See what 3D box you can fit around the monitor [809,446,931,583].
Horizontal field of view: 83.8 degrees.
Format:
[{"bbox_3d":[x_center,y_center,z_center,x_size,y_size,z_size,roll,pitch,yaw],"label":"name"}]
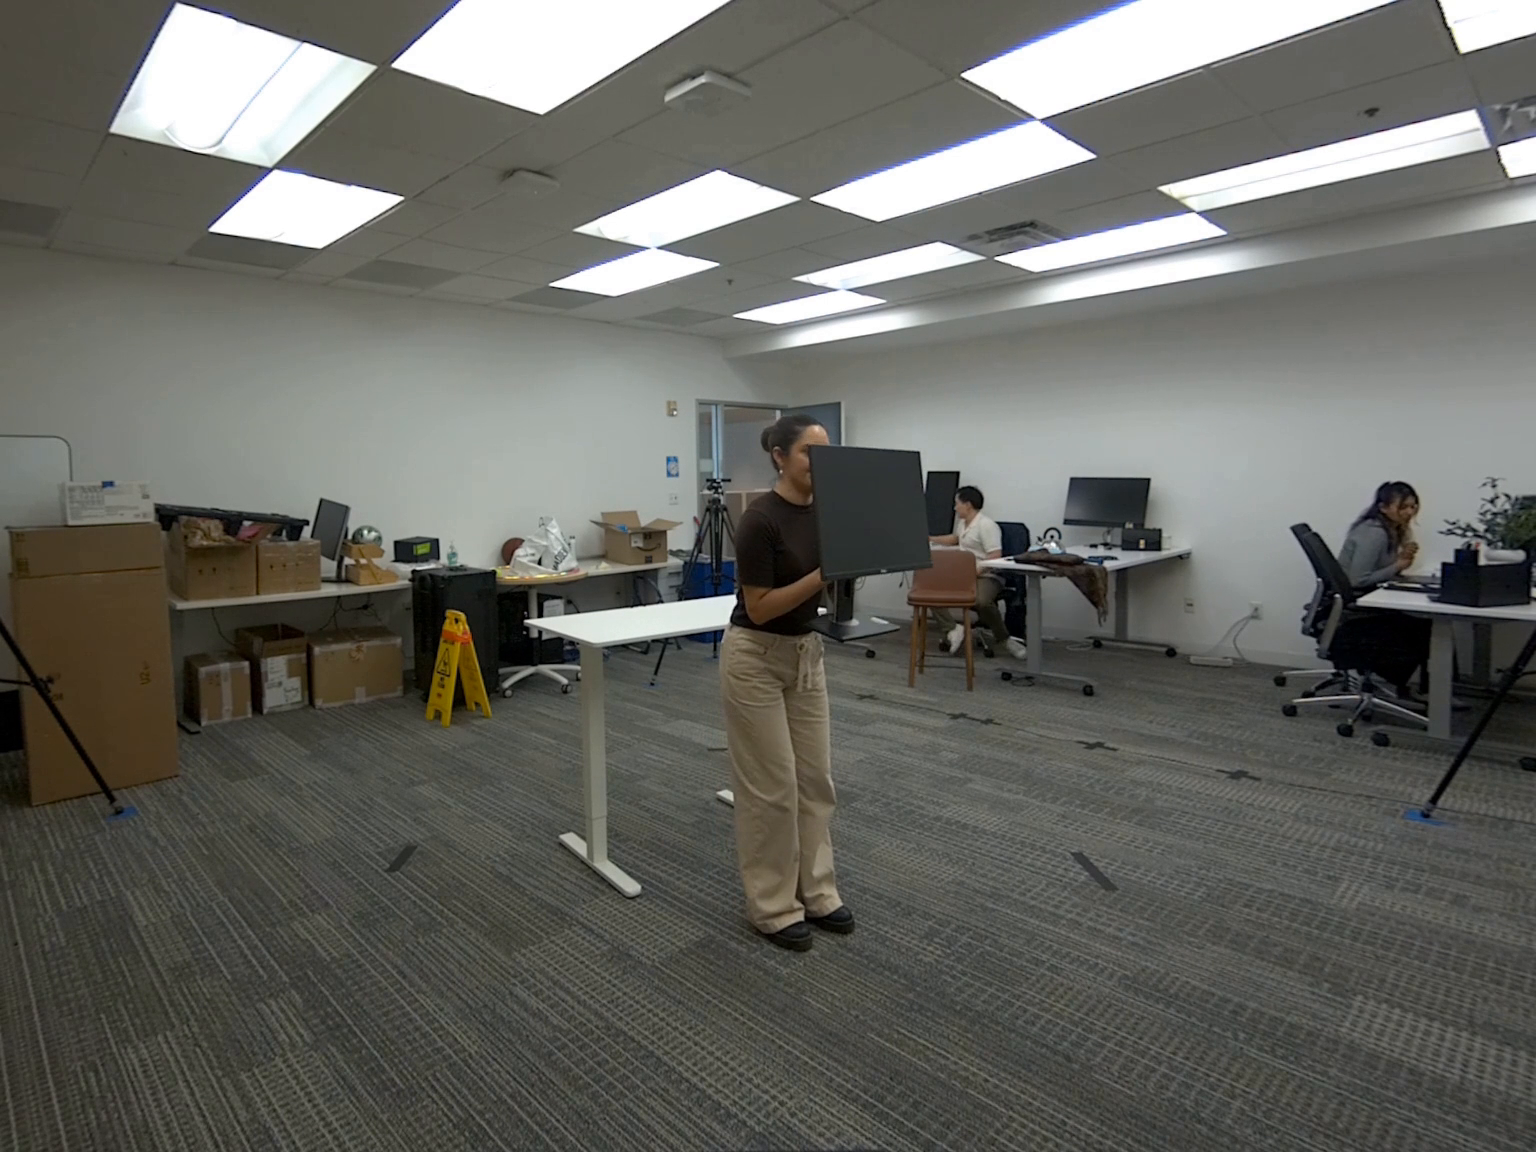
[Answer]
[{"bbox_3d":[0.262,-0.097,2.403,0.193,0.519,0.525,10,10,38],"label":"monitor"}]
